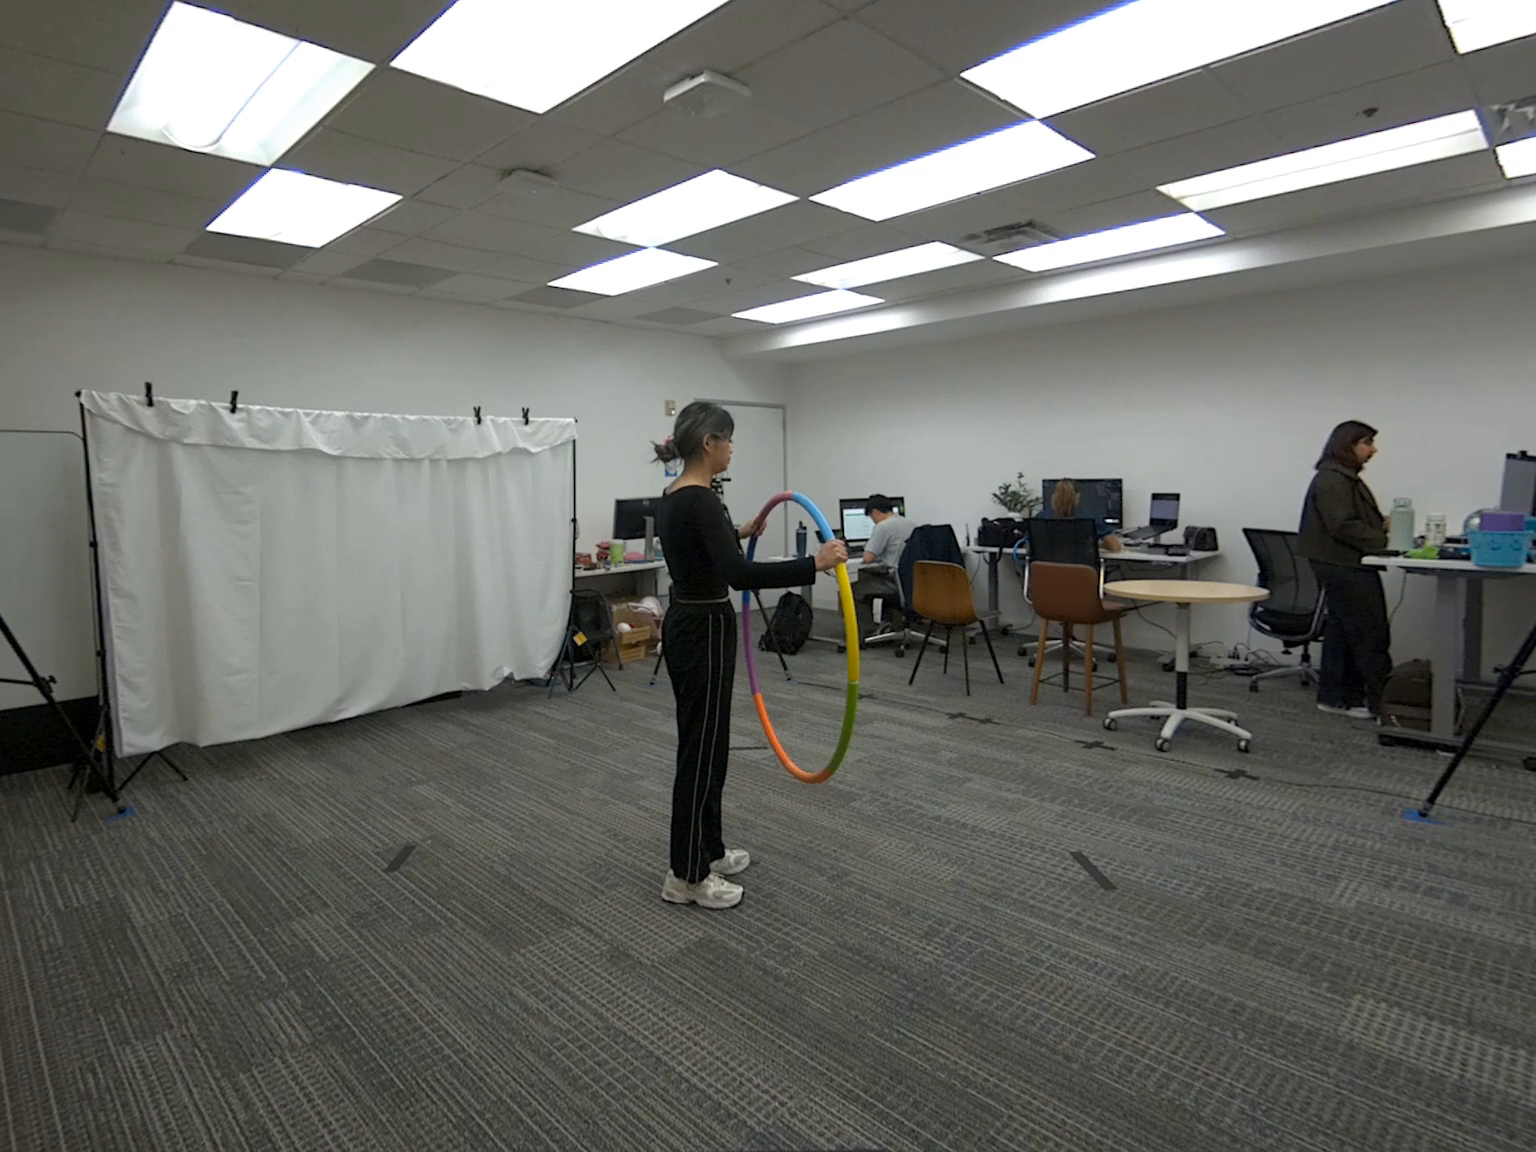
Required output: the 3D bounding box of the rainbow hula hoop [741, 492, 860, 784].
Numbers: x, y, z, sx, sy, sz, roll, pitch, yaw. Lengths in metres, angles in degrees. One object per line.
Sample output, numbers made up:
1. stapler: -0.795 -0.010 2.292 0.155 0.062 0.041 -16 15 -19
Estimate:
1. rainbow hula hoop: 0.085 0.209 2.966 0.035 0.975 0.999 -2 5 -21
